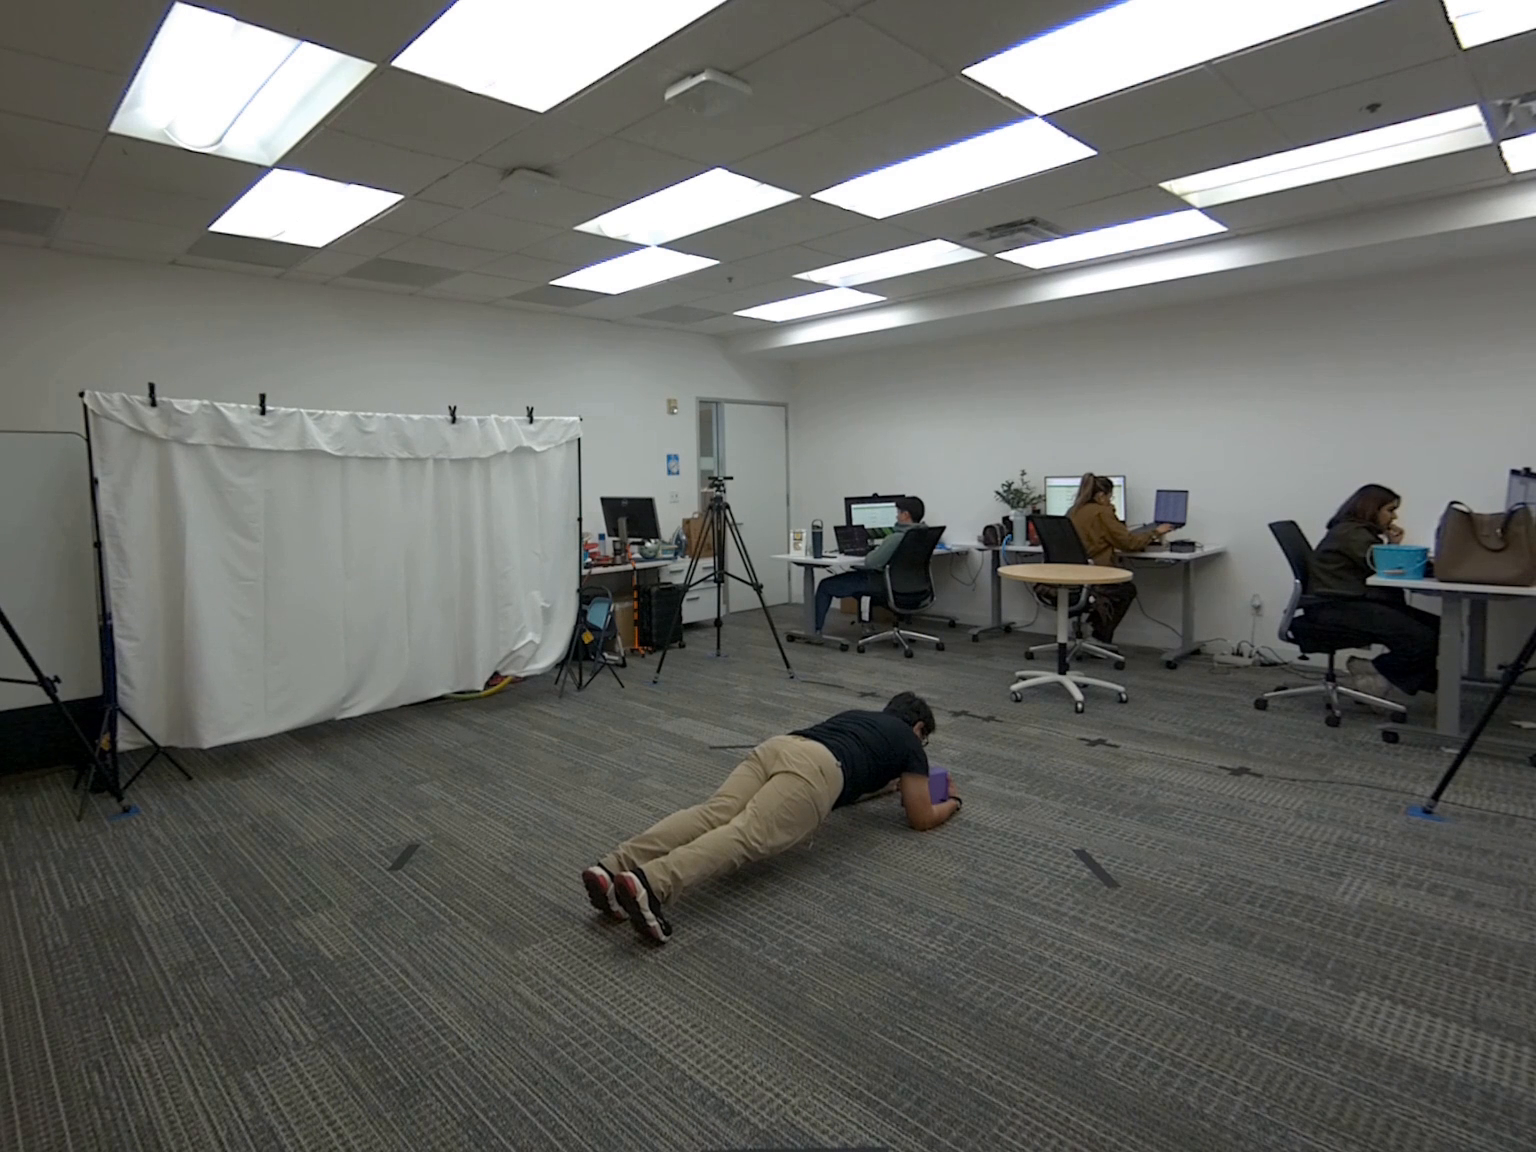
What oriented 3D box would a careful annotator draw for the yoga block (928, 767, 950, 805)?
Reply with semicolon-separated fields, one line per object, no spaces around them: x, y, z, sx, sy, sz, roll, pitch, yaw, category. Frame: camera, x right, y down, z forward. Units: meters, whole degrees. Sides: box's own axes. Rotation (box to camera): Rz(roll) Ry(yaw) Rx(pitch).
0.643;0.865;3.503;0.222;0.149;0.078;5;-5;-38;yoga block
